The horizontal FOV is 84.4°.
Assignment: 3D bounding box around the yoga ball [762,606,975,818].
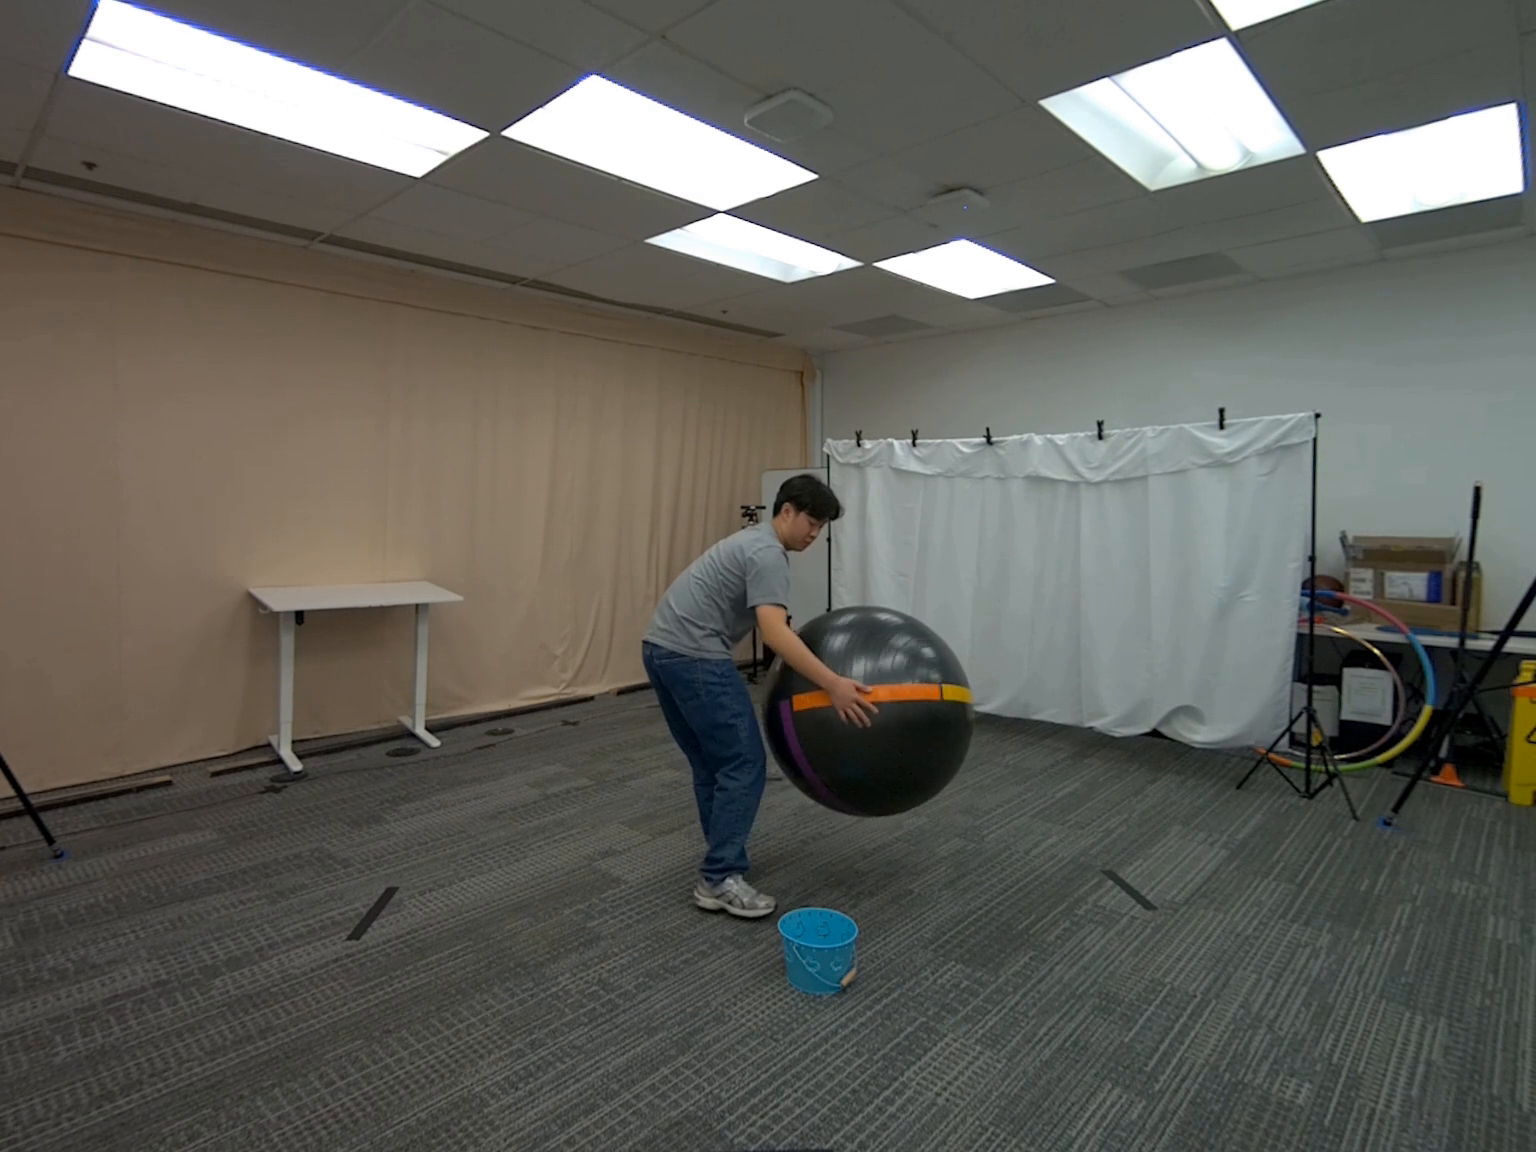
[{"bbox_3d":[0.341,0.508,3.088,0.757,0.756,0.760,0,4,-2],"label":"yoga ball"}]
